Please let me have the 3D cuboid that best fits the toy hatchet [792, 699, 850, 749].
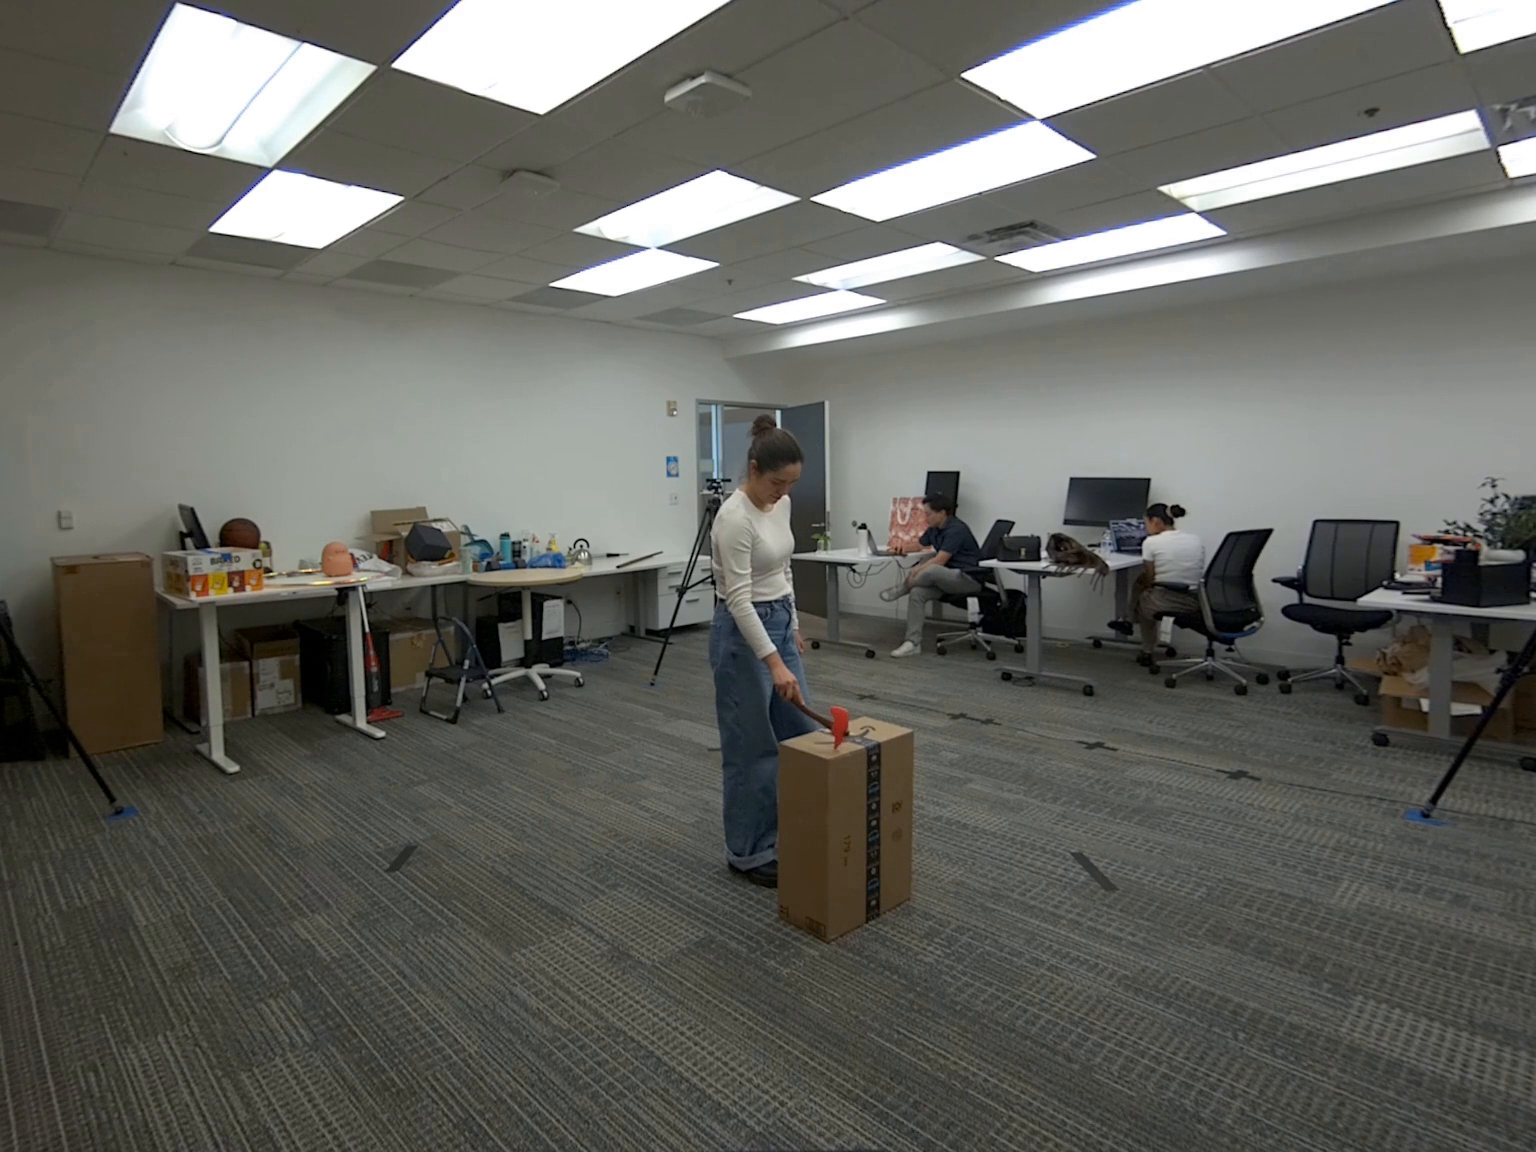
[{"bbox_3d":[0.150,0.400,2.660,0.029,0.130,0.279,-11,47,-48],"label":"toy hatchet"}]
